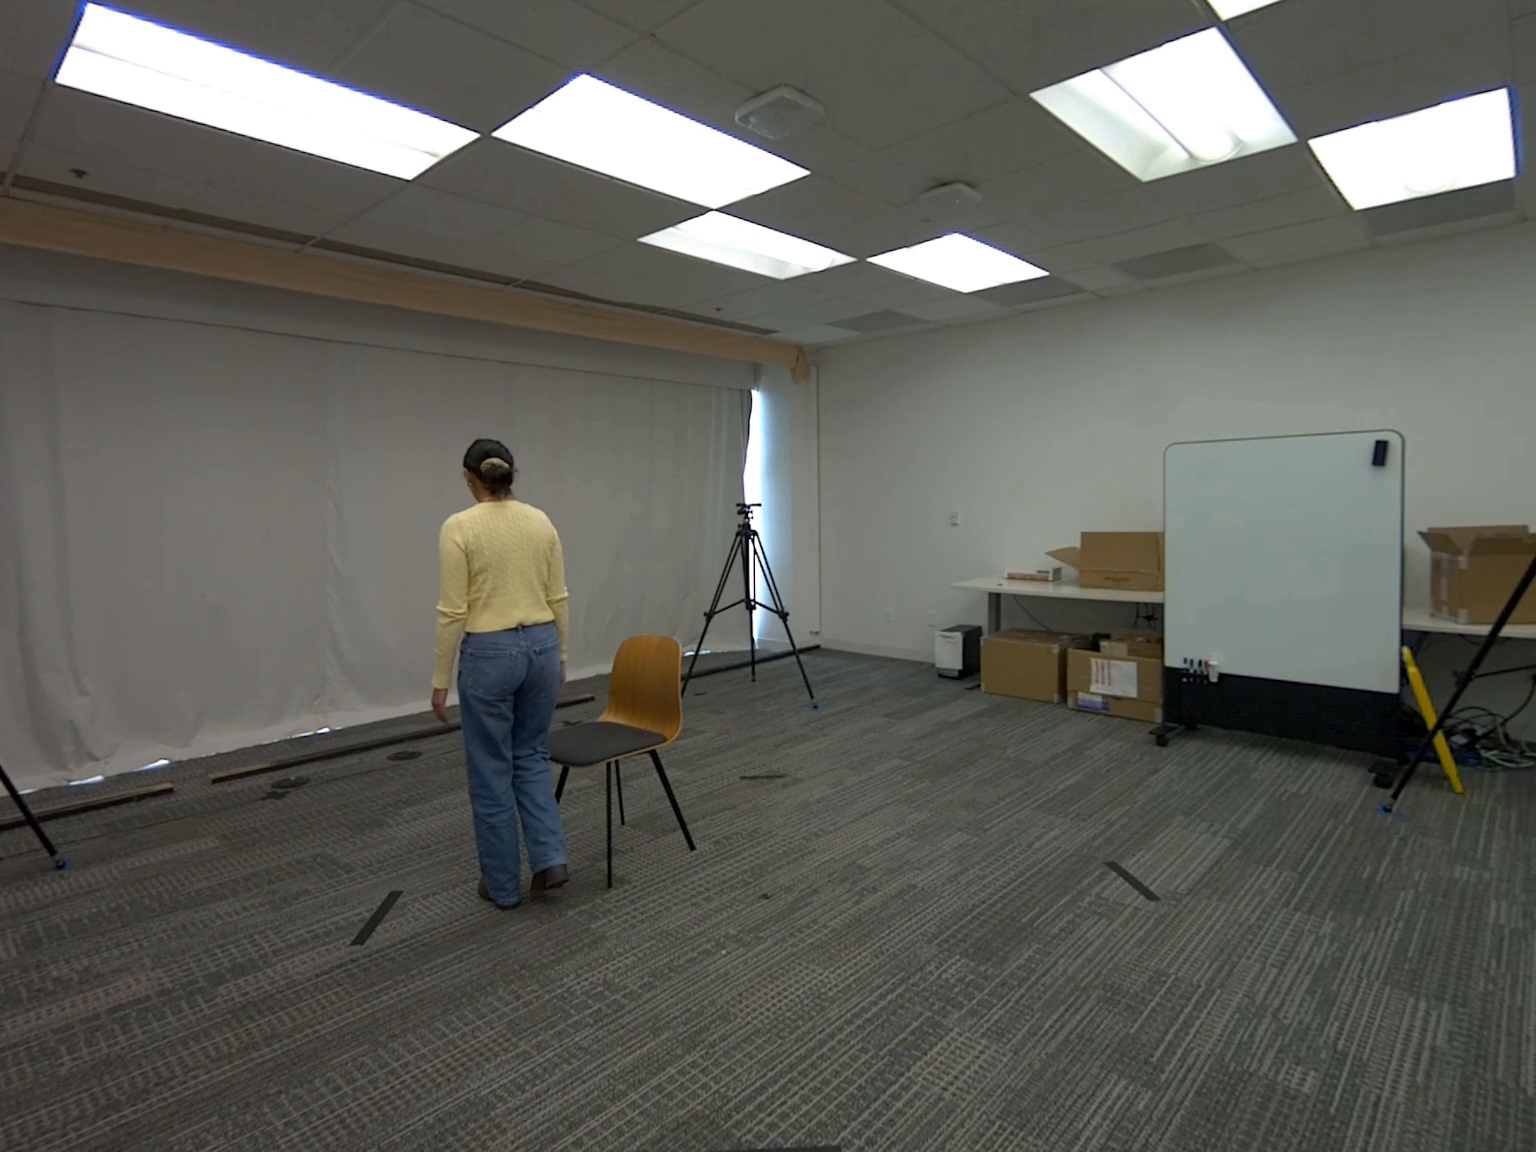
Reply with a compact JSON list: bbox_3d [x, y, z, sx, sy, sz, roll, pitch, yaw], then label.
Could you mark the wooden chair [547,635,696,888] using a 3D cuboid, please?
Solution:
[{"bbox_3d":[-0.617,0.691,3.351,0.494,0.877,0.506,2,1,41],"label":"wooden chair"}]
